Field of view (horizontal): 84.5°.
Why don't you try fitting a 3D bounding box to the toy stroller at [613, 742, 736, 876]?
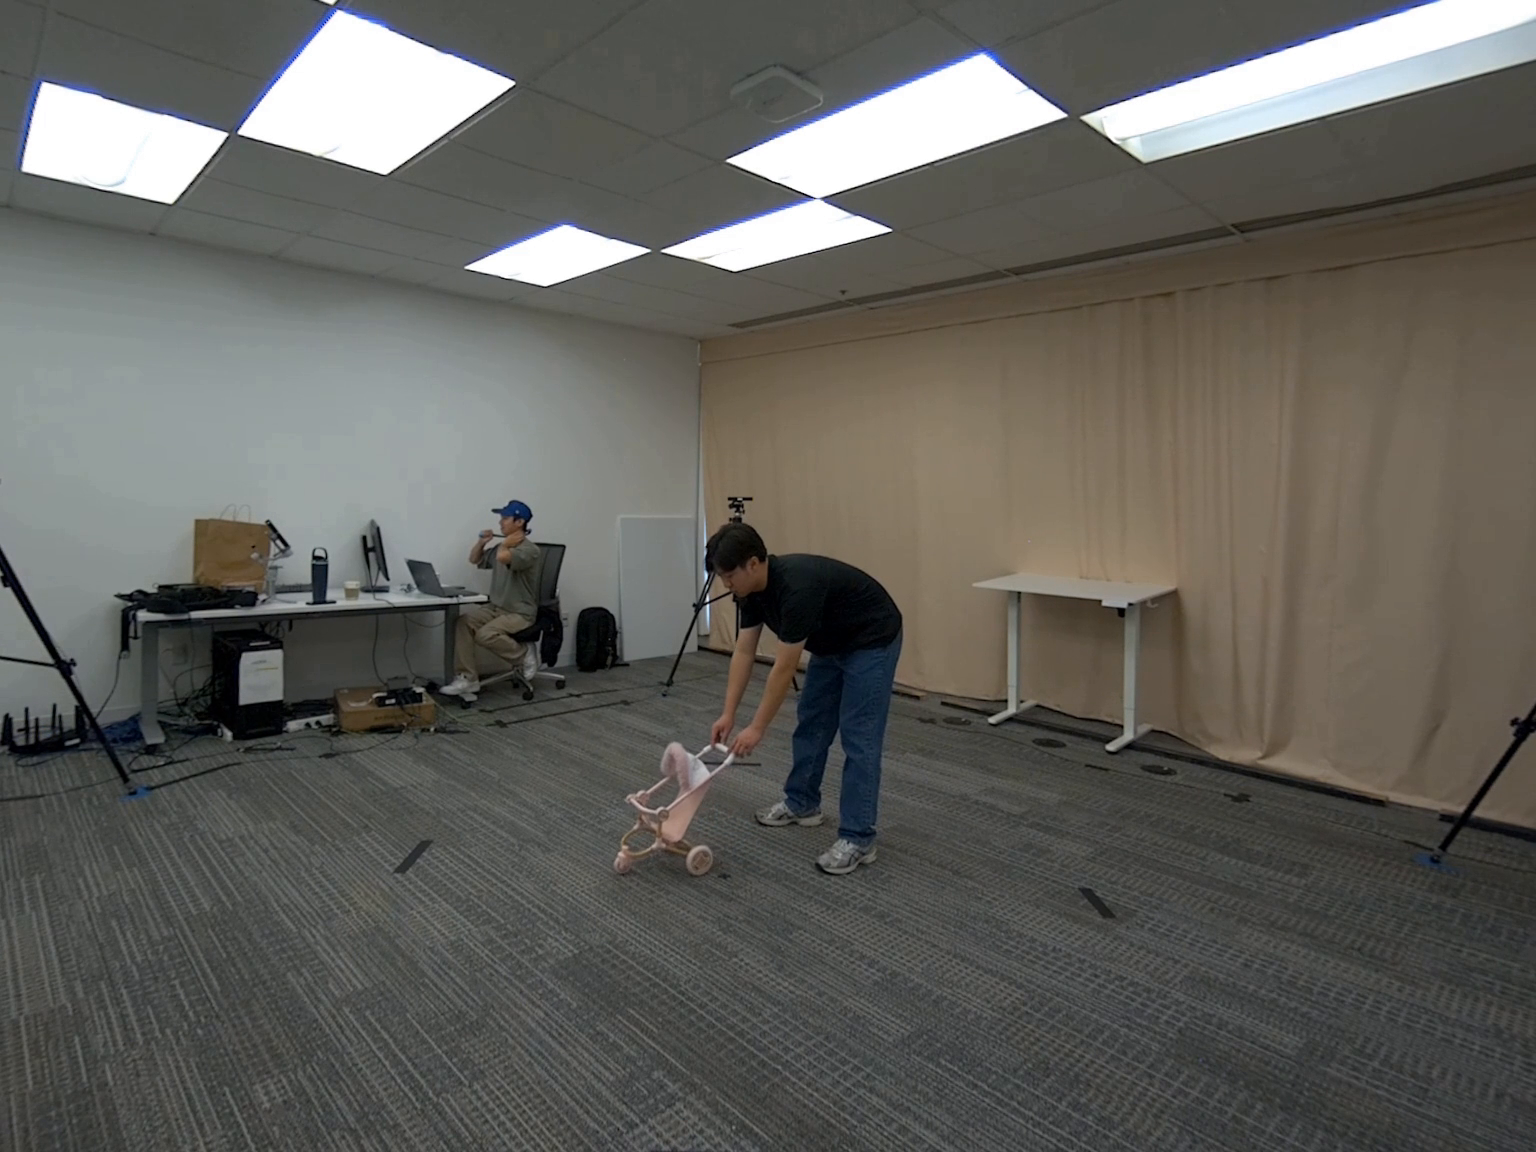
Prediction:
[{"bbox_3d":[-0.375,0.873,3.177,0.334,0.536,0.287,18,-4,-24],"label":"toy stroller"}]
